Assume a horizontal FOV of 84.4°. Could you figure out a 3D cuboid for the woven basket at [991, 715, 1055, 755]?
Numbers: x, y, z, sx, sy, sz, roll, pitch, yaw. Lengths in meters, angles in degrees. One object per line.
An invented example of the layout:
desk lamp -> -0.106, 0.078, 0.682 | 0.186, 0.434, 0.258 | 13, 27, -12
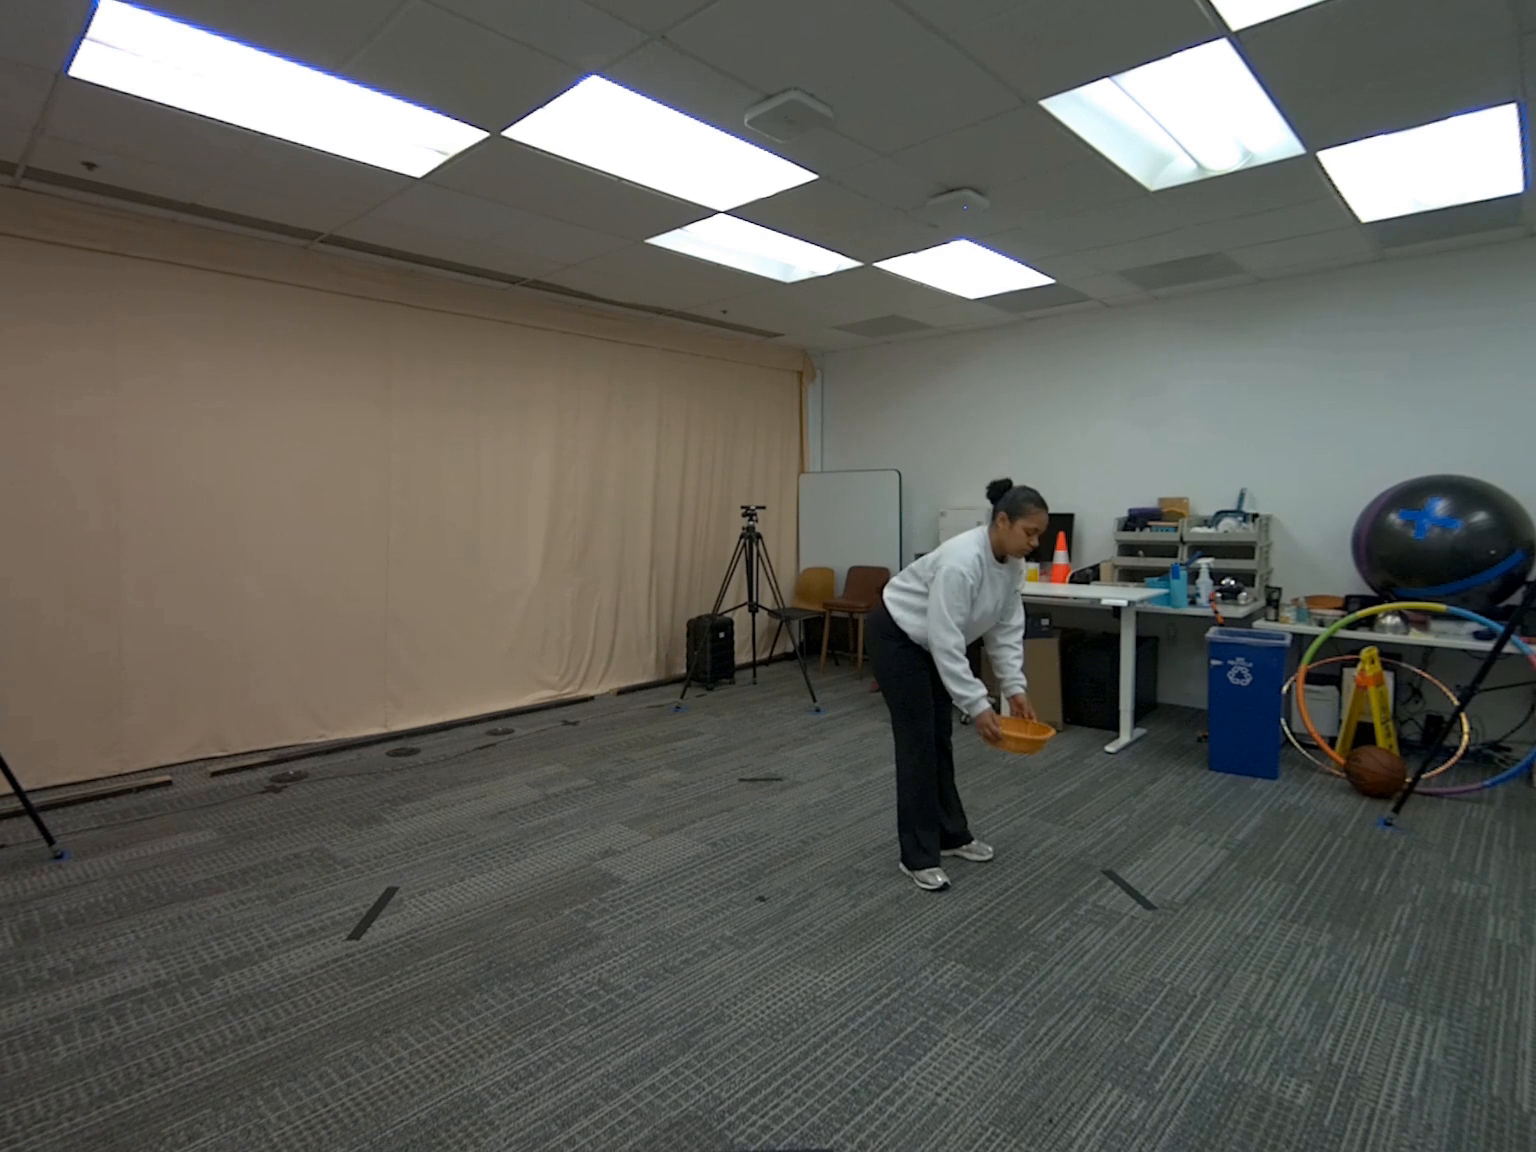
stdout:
woven basket -> 0.891, 0.570, 2.995 | 0.260, 0.073, 0.340 | 9, 5, 32
